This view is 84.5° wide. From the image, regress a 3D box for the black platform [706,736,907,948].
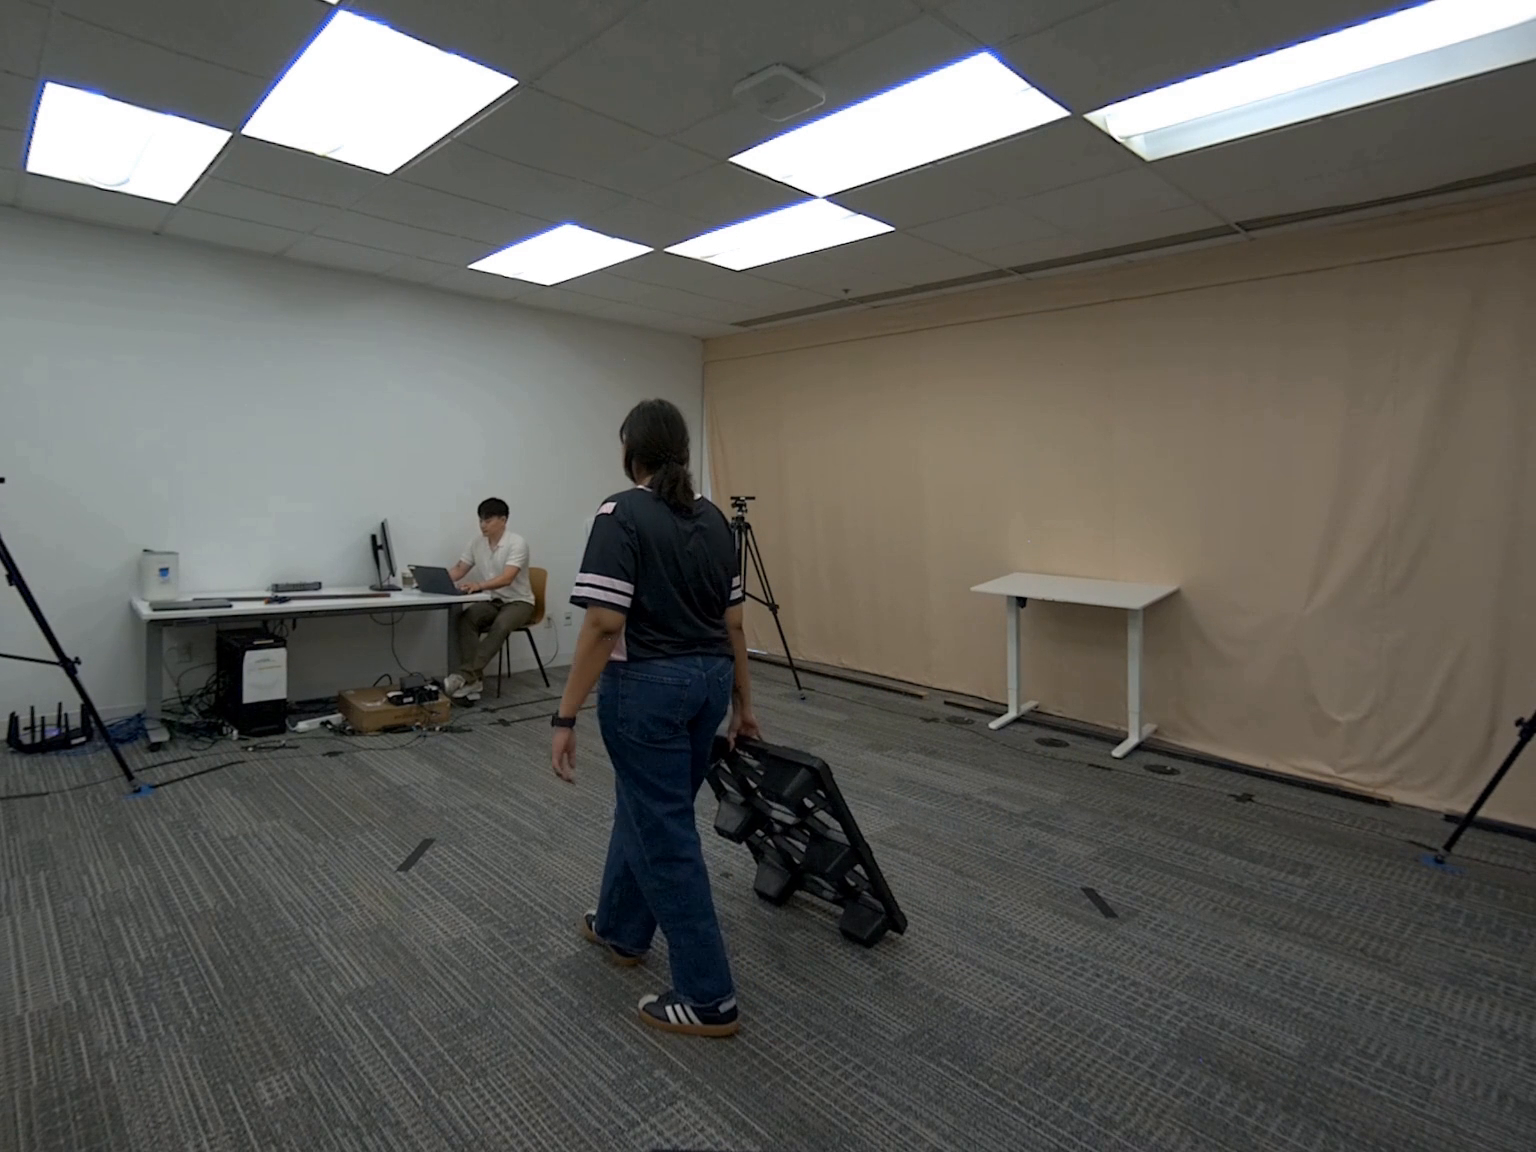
[{"bbox_3d":[0.039,0.814,2.642,0.621,0.785,0.143,7,42,44],"label":"black platform"}]
